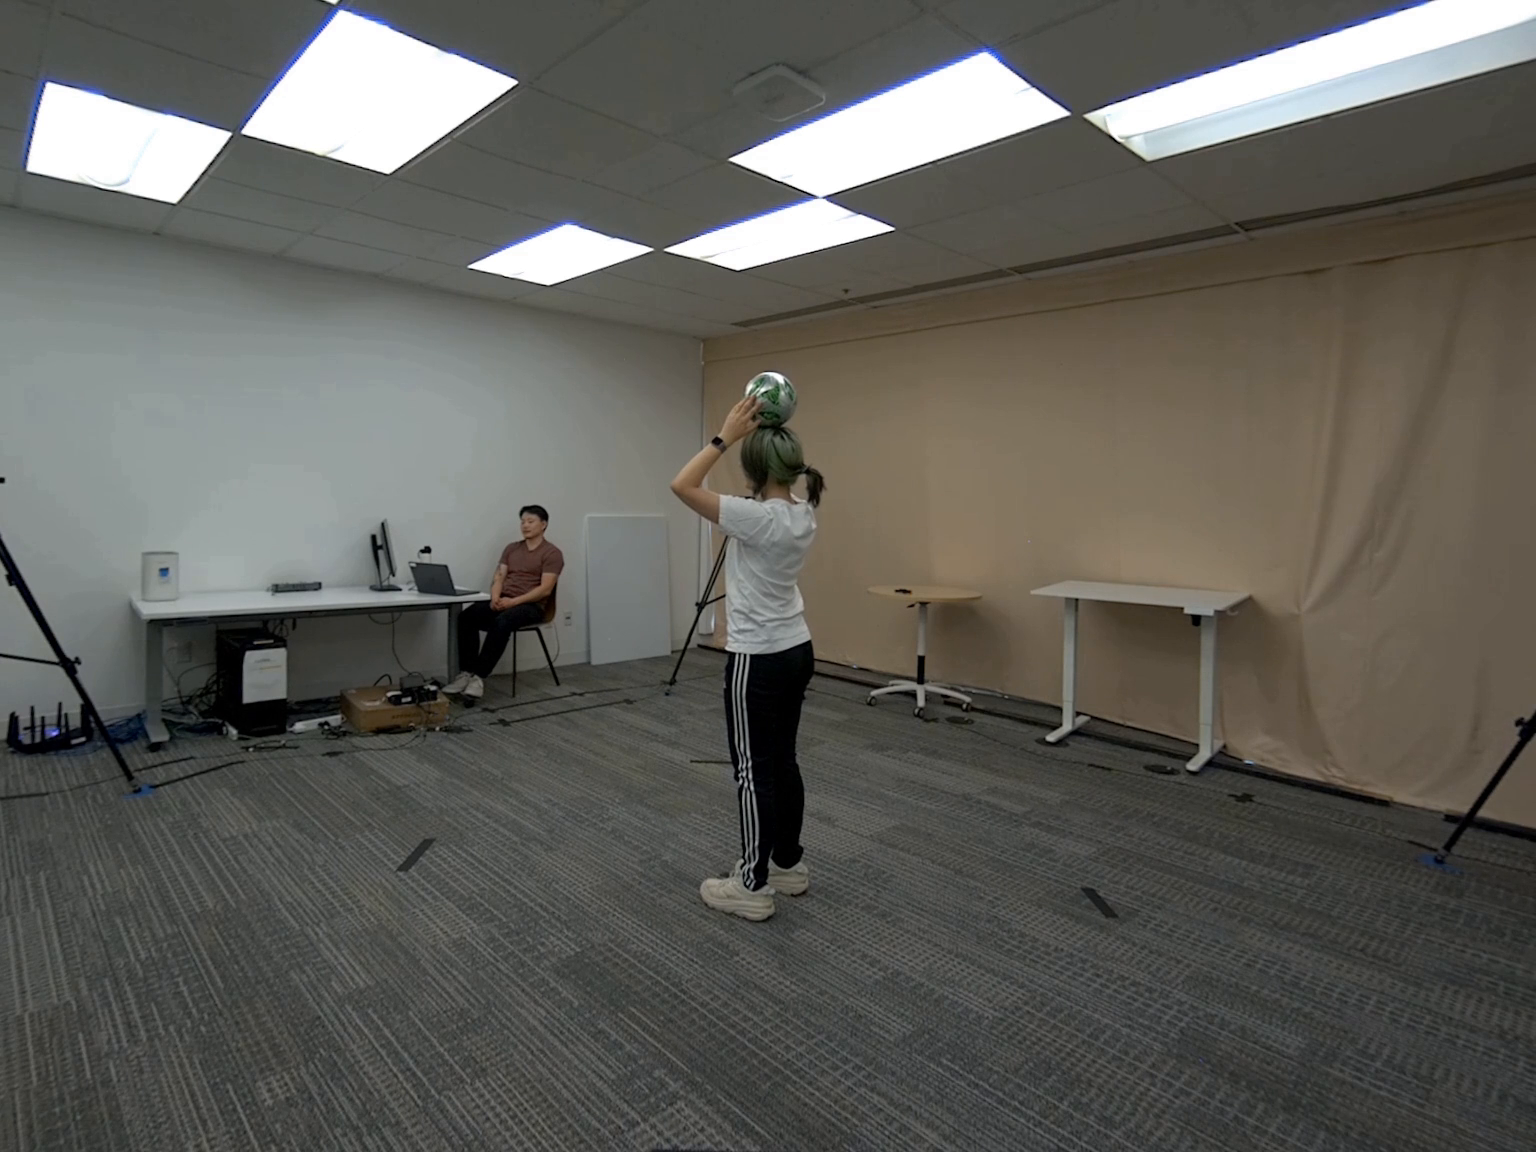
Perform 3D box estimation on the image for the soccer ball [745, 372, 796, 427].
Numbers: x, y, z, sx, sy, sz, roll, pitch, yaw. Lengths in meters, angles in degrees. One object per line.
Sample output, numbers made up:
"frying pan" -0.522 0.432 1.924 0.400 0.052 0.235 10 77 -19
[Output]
"soccer ball" 0.001 -0.594 2.845 0.187 0.187 0.188 1 4 -1
